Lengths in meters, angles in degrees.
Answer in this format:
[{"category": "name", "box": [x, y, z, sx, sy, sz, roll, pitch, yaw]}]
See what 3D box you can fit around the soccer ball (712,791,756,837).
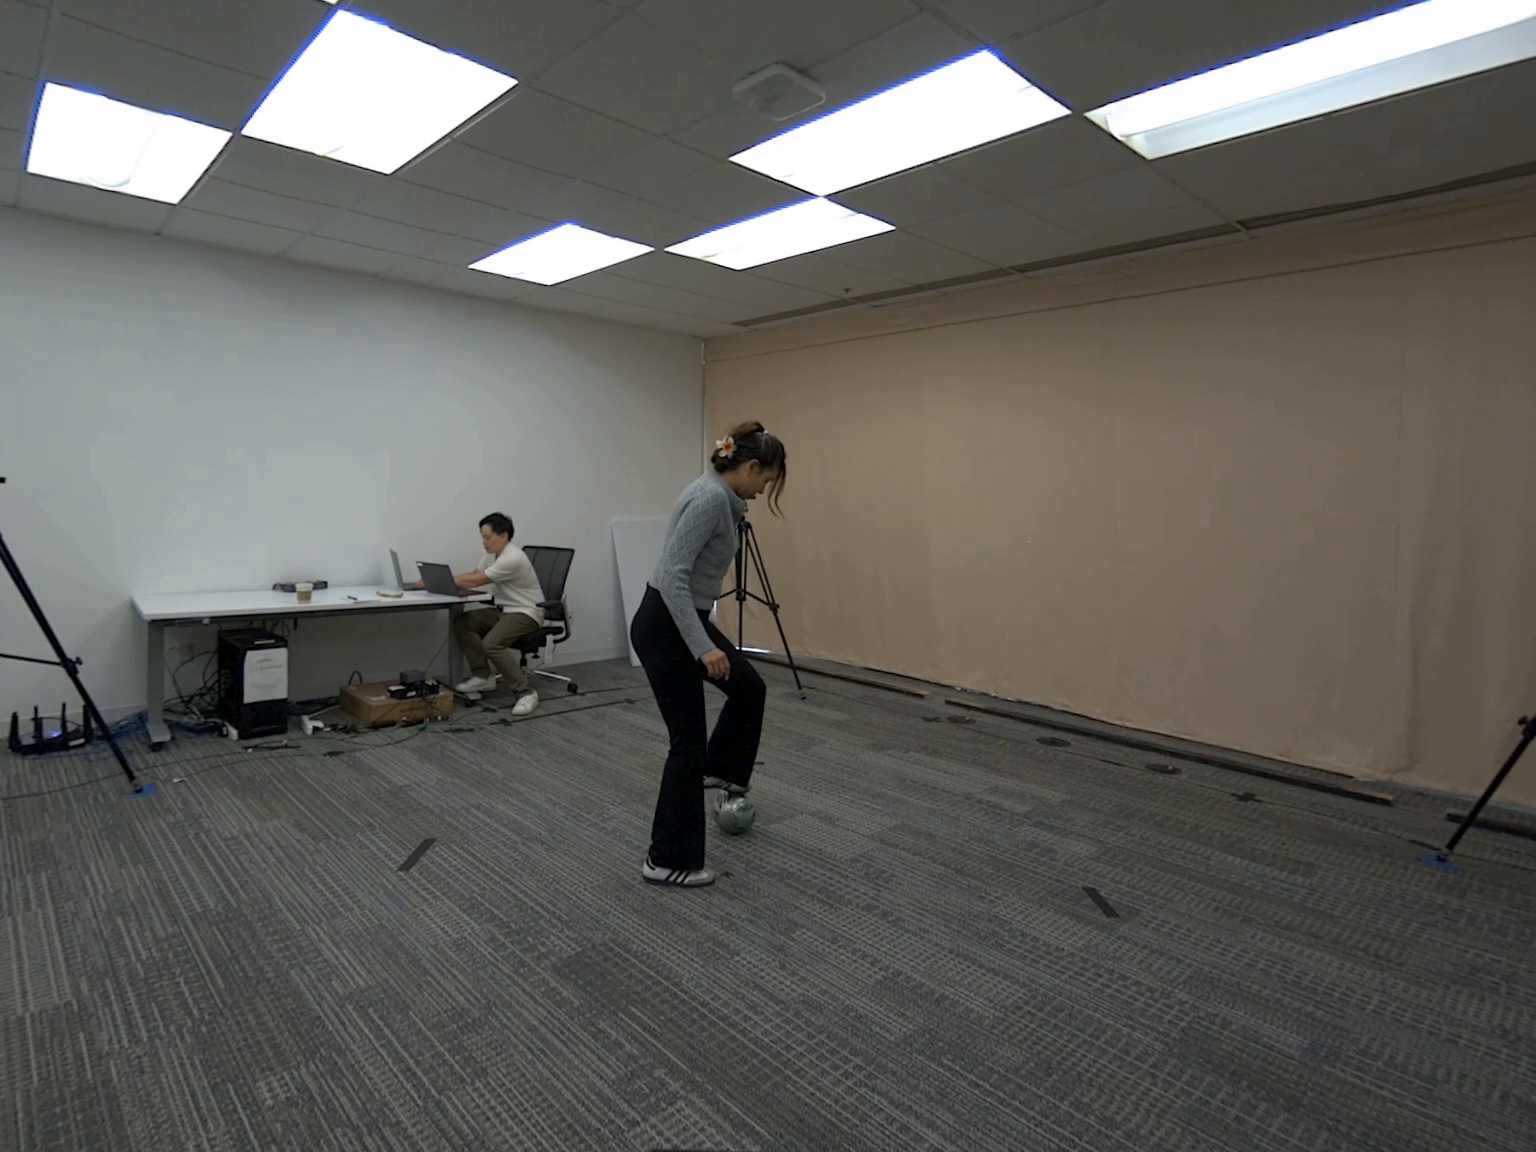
[{"category": "soccer ball", "box": [-0.145, 0.976, 3.501, 0.187, 0.187, 0.188, 1, 4, -1]}]
